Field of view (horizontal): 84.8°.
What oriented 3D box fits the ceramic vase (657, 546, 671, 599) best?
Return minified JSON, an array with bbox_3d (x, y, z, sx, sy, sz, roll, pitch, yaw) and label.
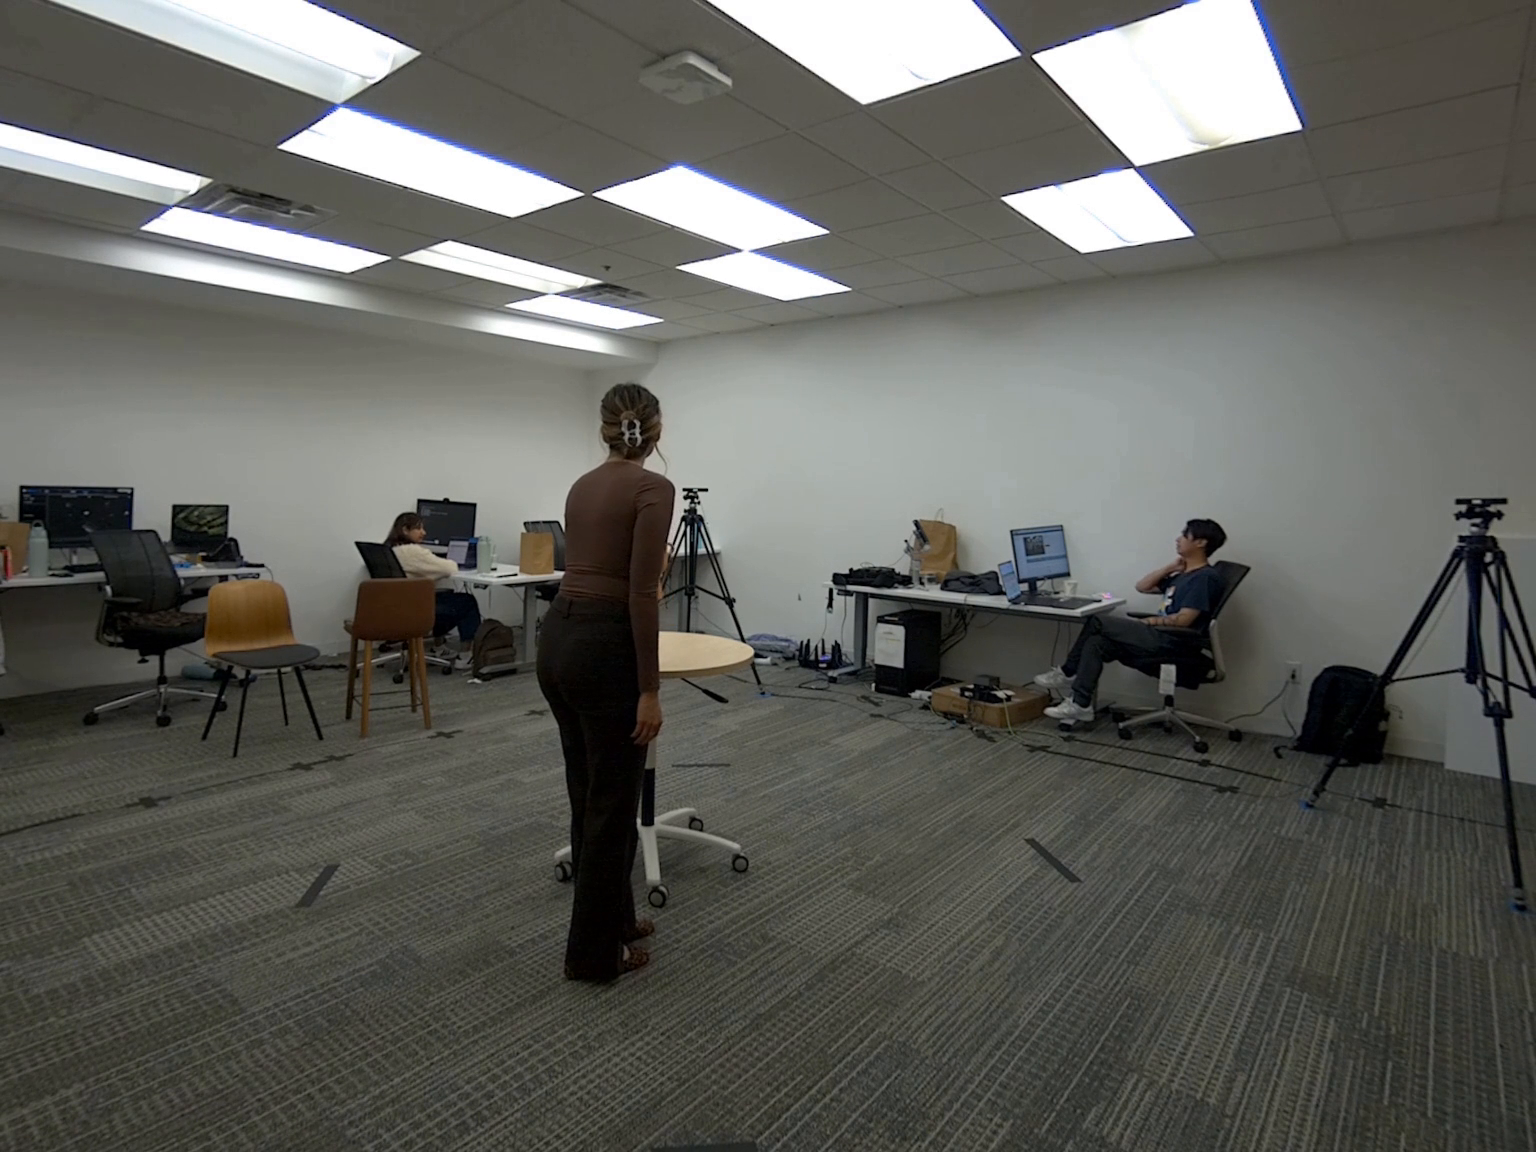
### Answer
[{"bbox_3d":[-0.429,-0.033,2.958,0.161,0.219,0.133,0,4,12],"label":"ceramic vase"}]
